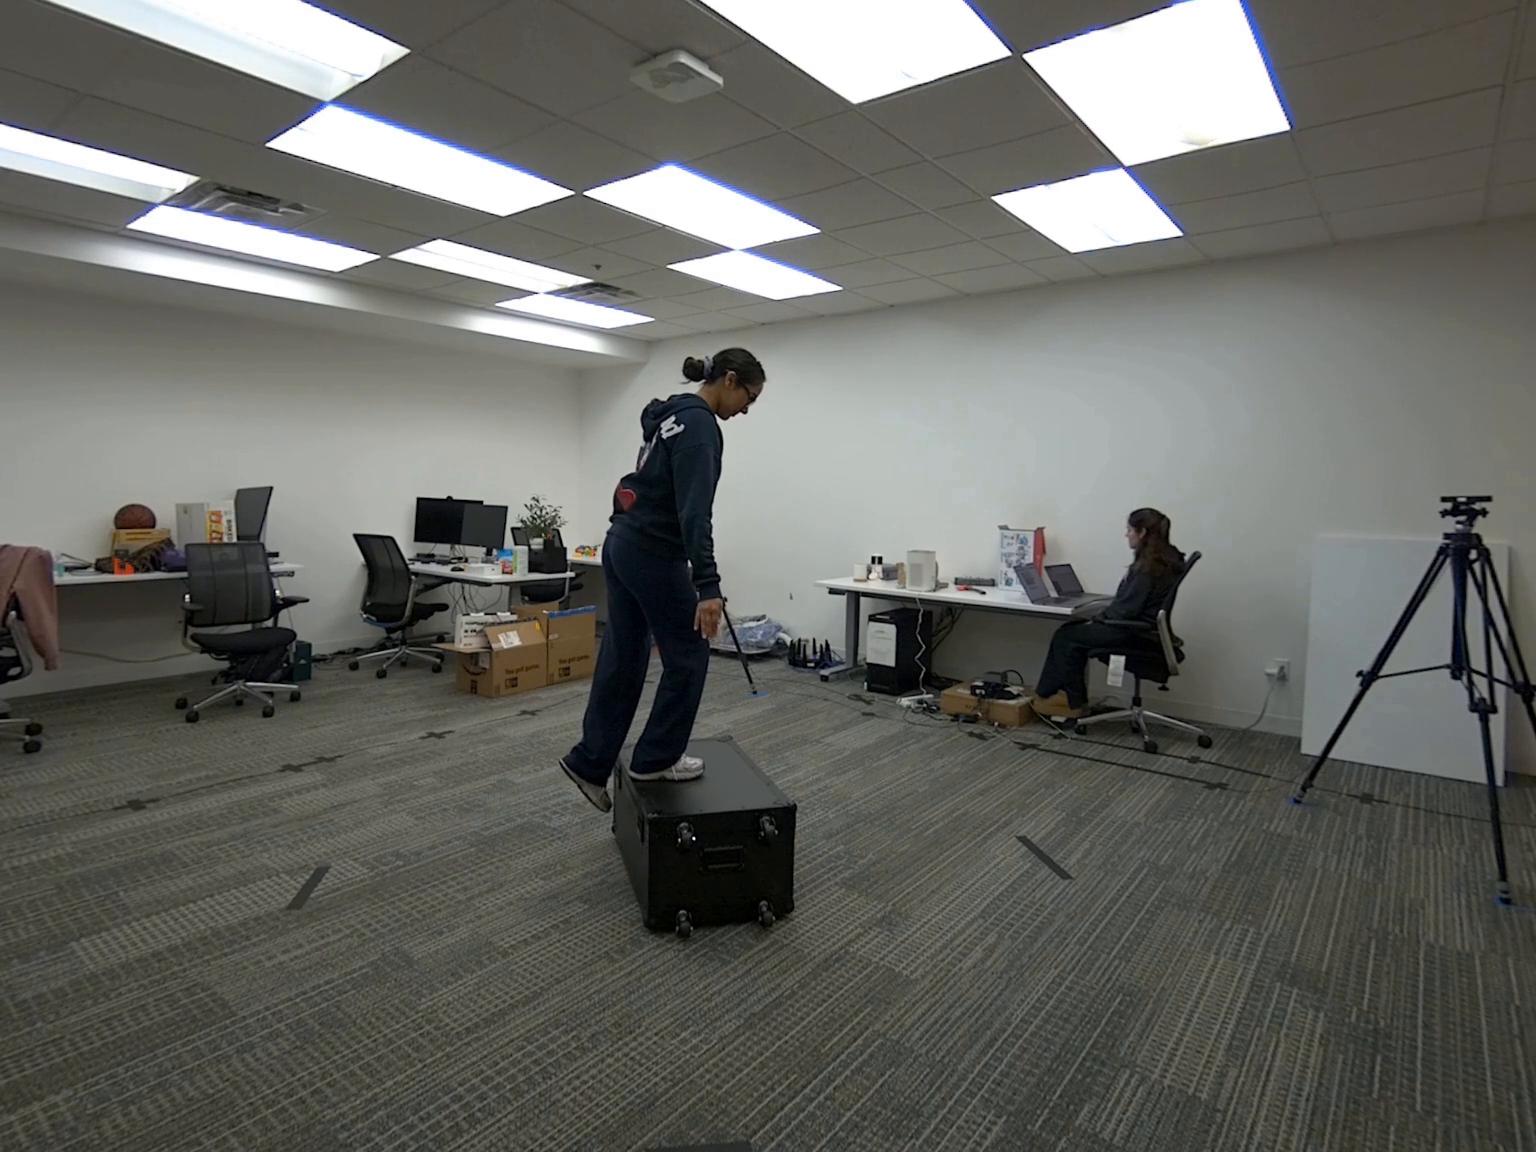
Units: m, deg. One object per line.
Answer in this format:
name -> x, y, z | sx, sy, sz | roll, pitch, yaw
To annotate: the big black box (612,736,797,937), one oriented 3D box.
big black box -> -0.263, 0.885, 3.017 | 0.512, 0.395, 0.880 | -1, 5, -18
